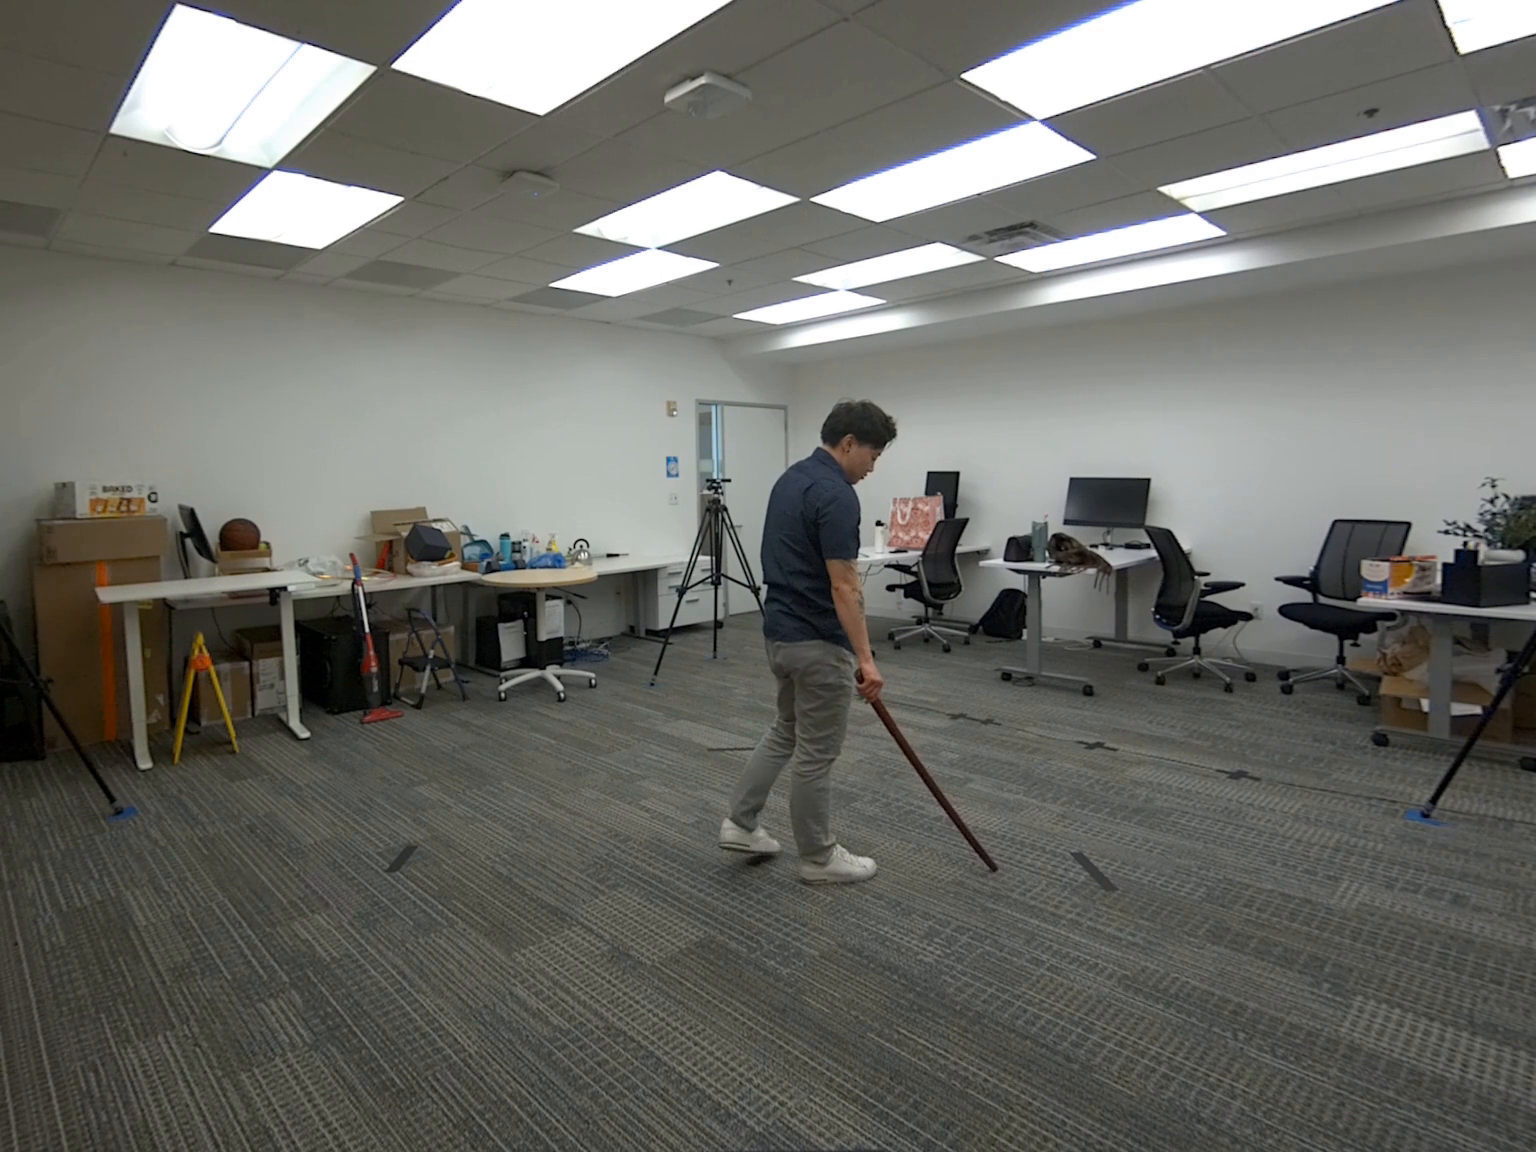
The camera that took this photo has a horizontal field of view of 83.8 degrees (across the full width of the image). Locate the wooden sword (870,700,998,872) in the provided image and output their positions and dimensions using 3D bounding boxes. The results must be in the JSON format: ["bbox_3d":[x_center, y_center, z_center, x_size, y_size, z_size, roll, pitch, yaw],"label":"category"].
[{"bbox_3d":[0.528,0.680,2.814,0.024,0.995,0.052,-20,29,31],"label":"wooden sword"}]
